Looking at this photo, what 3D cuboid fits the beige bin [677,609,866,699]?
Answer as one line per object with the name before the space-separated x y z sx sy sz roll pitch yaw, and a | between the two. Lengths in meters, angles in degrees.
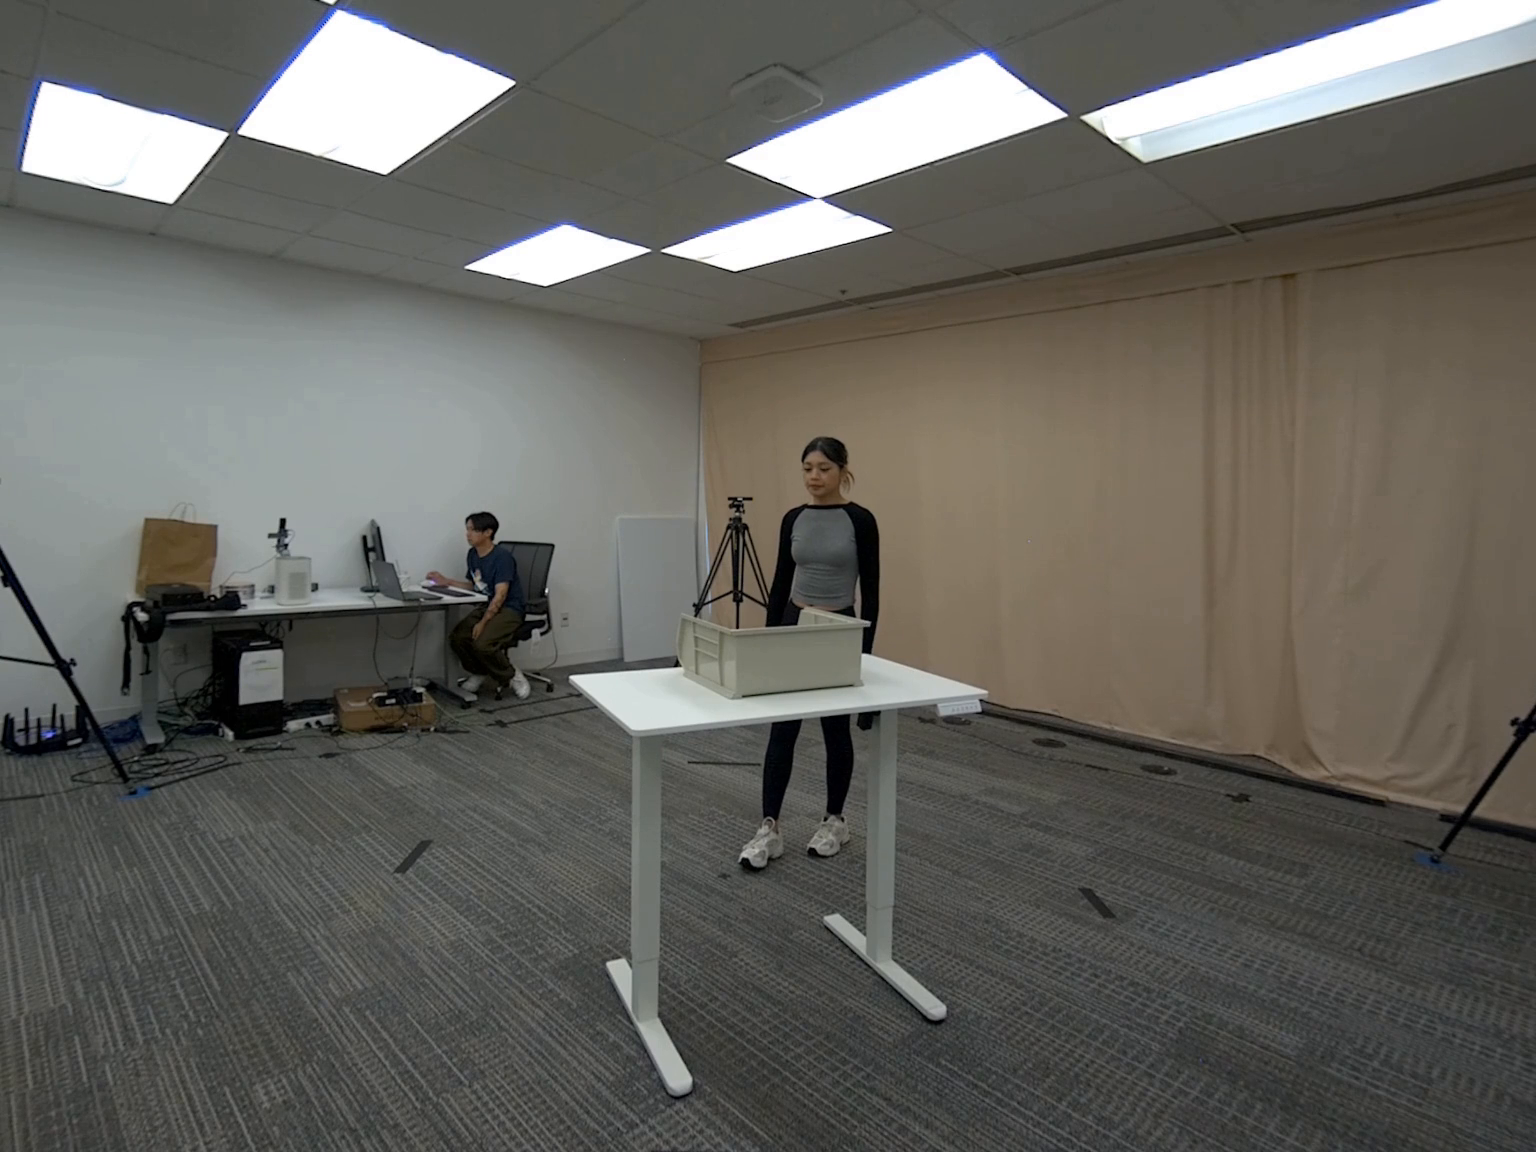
beige bin | -0.002 0.209 2.373 0.414 0.188 0.386 0 6 -27
